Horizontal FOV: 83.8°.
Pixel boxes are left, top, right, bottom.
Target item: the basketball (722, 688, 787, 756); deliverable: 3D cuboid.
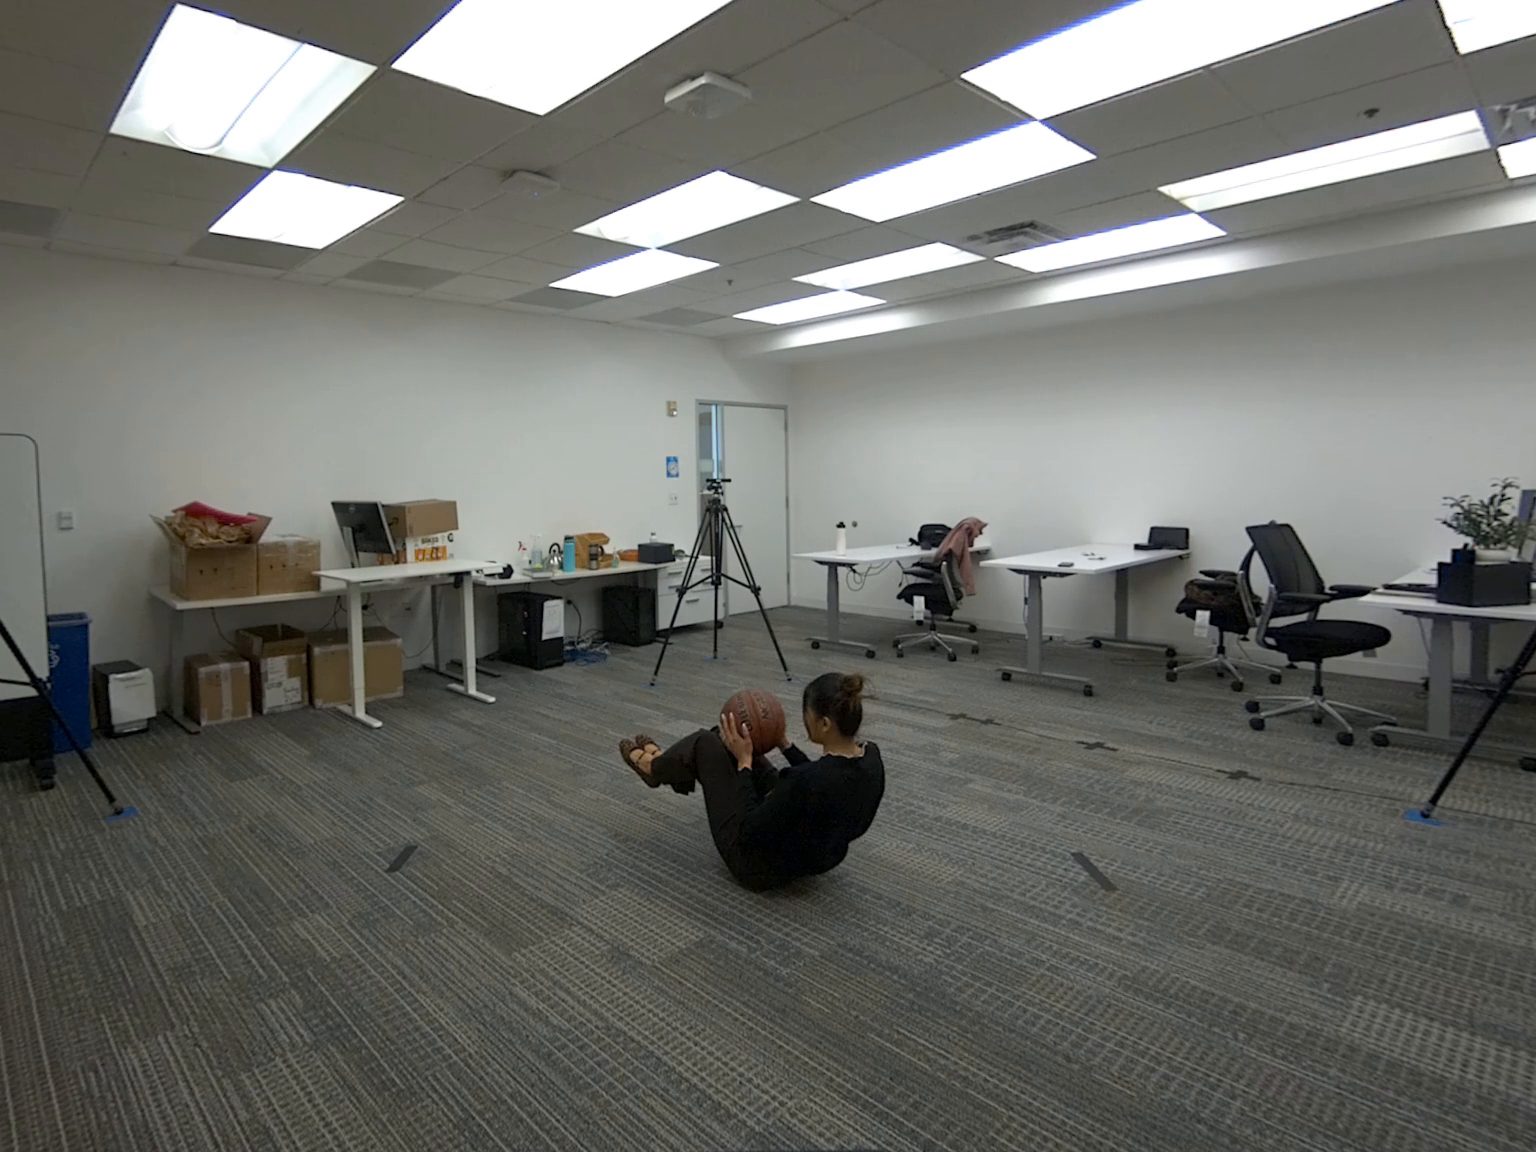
[{"bbox_3d":[-0.030,0.541,3.050,0.236,0.235,0.237,-1,5,-2],"label":"basketball"}]
